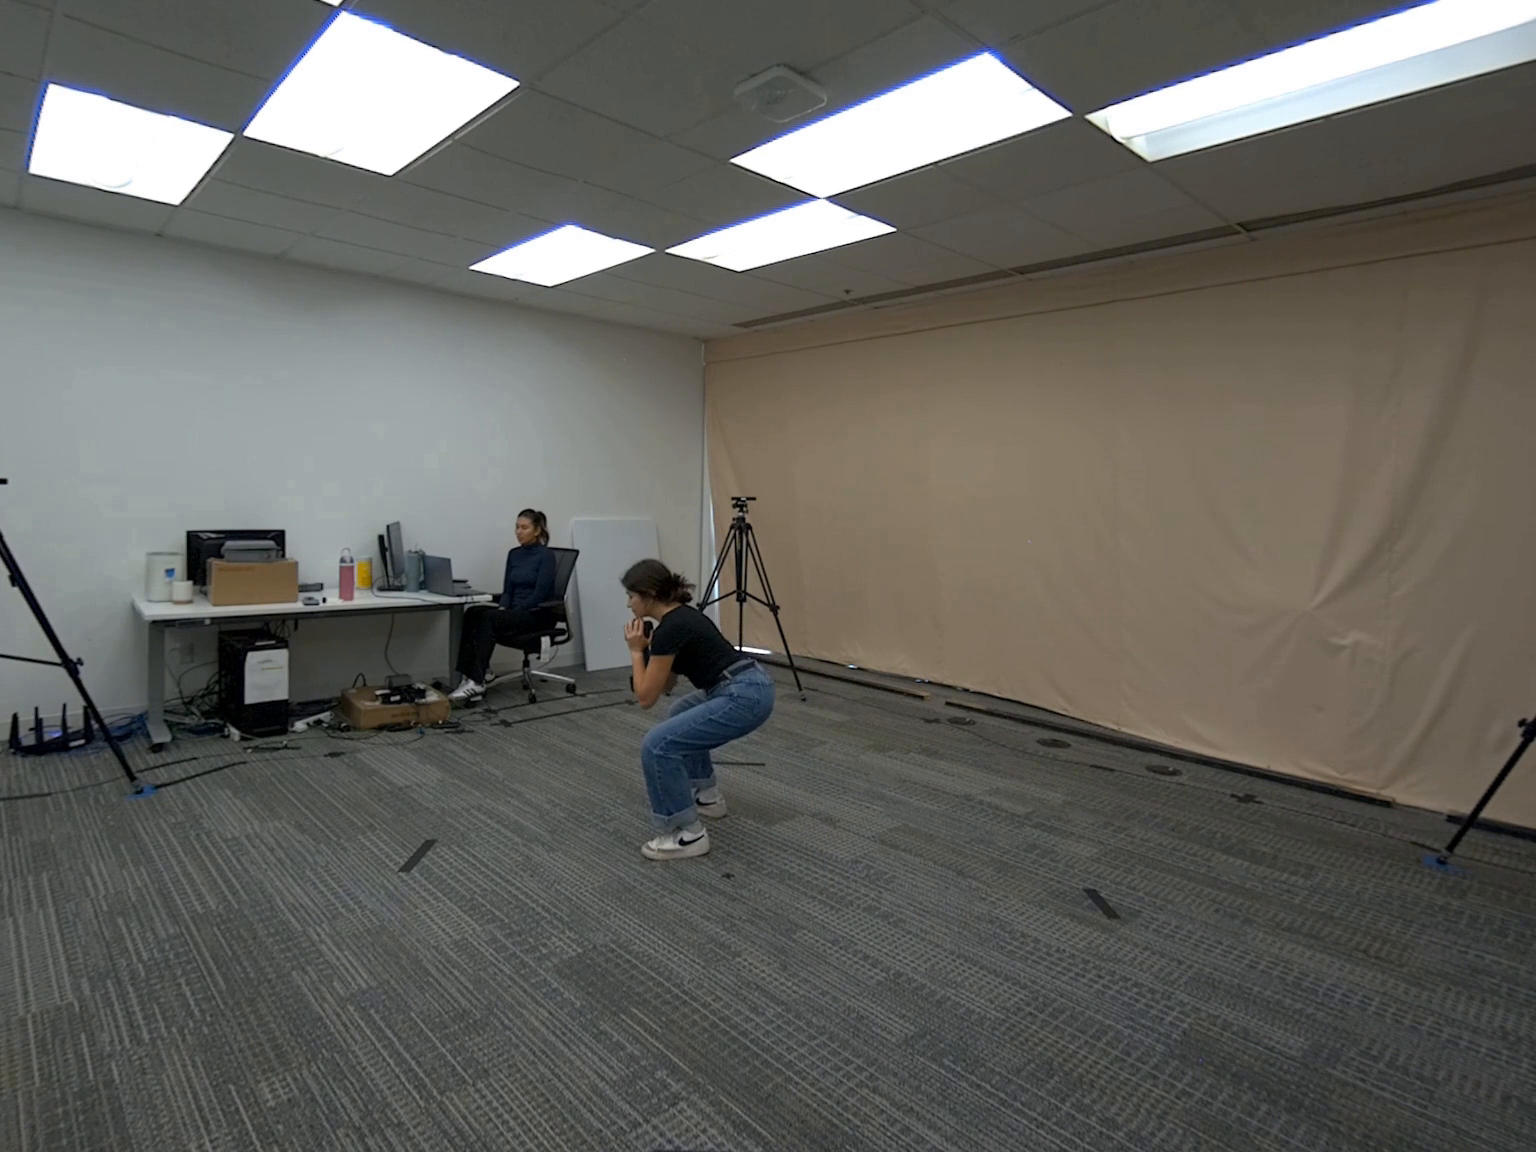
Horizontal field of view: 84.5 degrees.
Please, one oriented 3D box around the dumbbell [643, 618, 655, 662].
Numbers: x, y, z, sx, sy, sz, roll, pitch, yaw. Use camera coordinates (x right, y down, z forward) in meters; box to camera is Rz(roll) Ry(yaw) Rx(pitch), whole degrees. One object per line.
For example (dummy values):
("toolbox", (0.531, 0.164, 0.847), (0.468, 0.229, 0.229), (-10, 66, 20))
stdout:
("dumbbell", (-0.512, 0.342, 3.509), (0.125, 0.293, 0.106), (-6, 2, 45))
